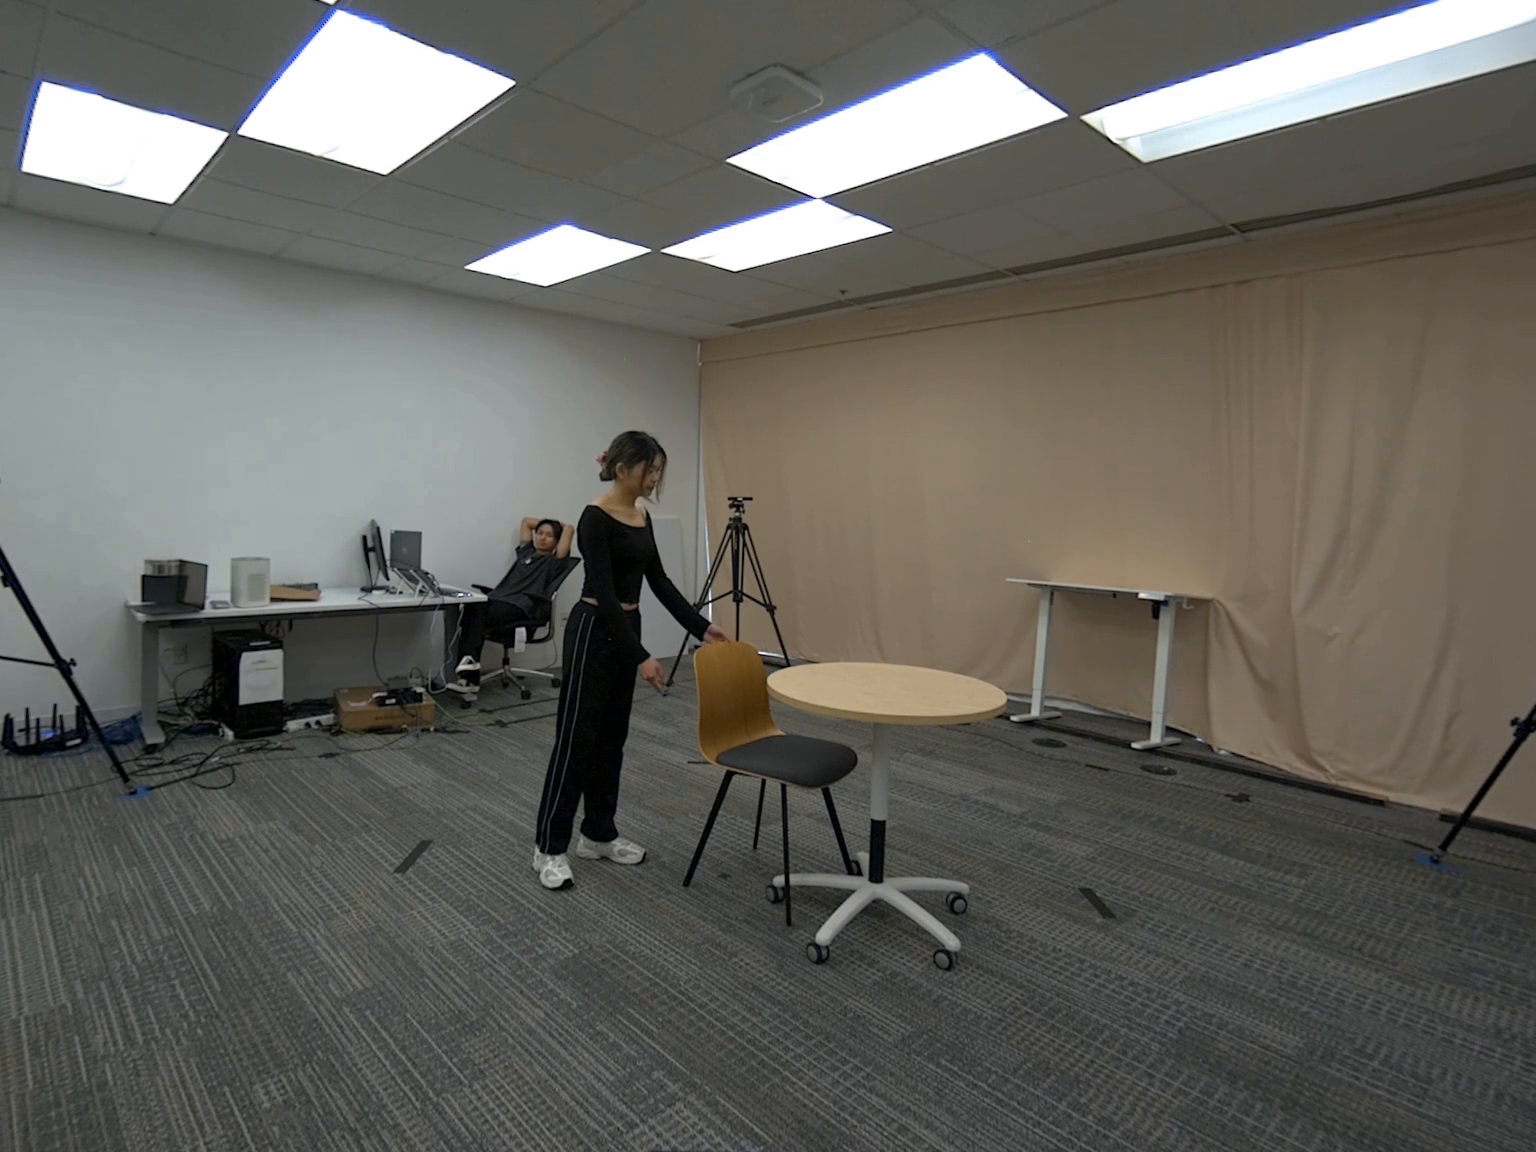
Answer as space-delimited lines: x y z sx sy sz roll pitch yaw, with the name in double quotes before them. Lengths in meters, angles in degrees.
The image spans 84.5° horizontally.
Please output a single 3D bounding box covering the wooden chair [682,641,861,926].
"wooden chair" 0.018 0.685 3.027 0.535 0.877 0.467 -2 0 36
